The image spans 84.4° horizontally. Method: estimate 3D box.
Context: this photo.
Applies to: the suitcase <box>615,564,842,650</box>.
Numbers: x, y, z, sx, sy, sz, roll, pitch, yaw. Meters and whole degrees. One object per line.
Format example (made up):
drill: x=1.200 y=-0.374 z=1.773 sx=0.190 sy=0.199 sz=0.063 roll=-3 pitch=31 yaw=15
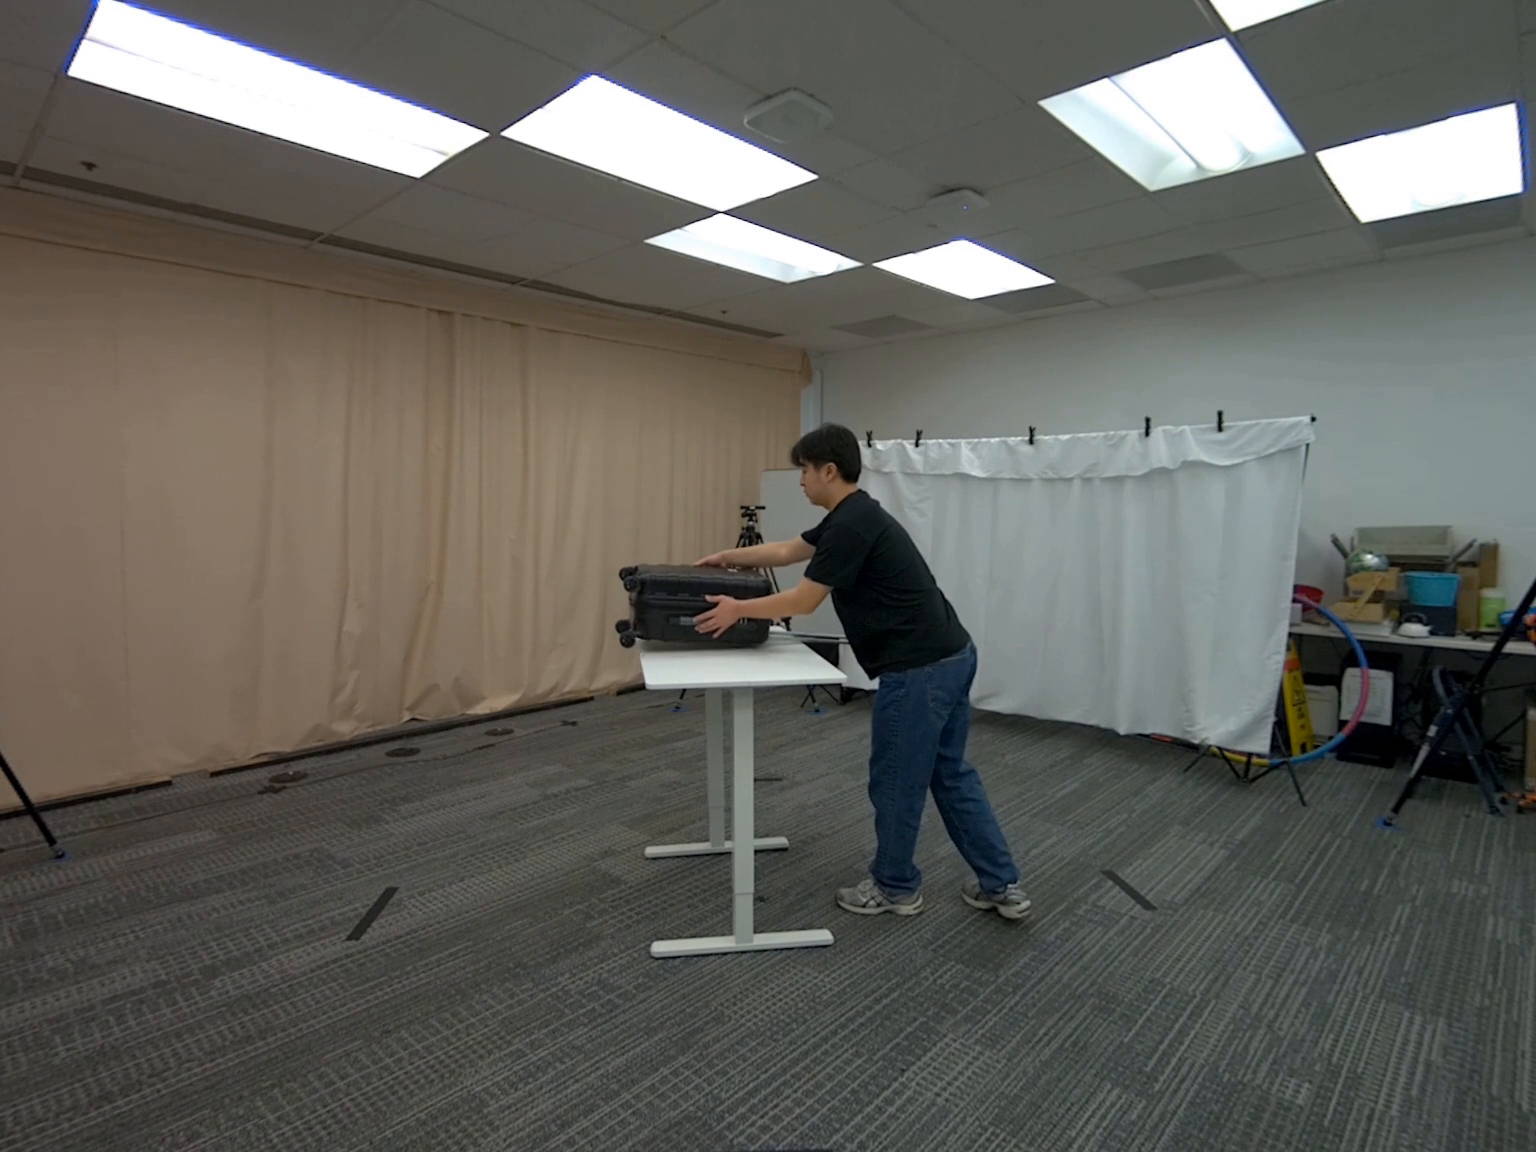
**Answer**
suitcase: x=-0.054 y=0.101 z=3.123 sx=0.969 sy=0.256 sz=0.389 roll=1 pitch=7 yaw=-9
